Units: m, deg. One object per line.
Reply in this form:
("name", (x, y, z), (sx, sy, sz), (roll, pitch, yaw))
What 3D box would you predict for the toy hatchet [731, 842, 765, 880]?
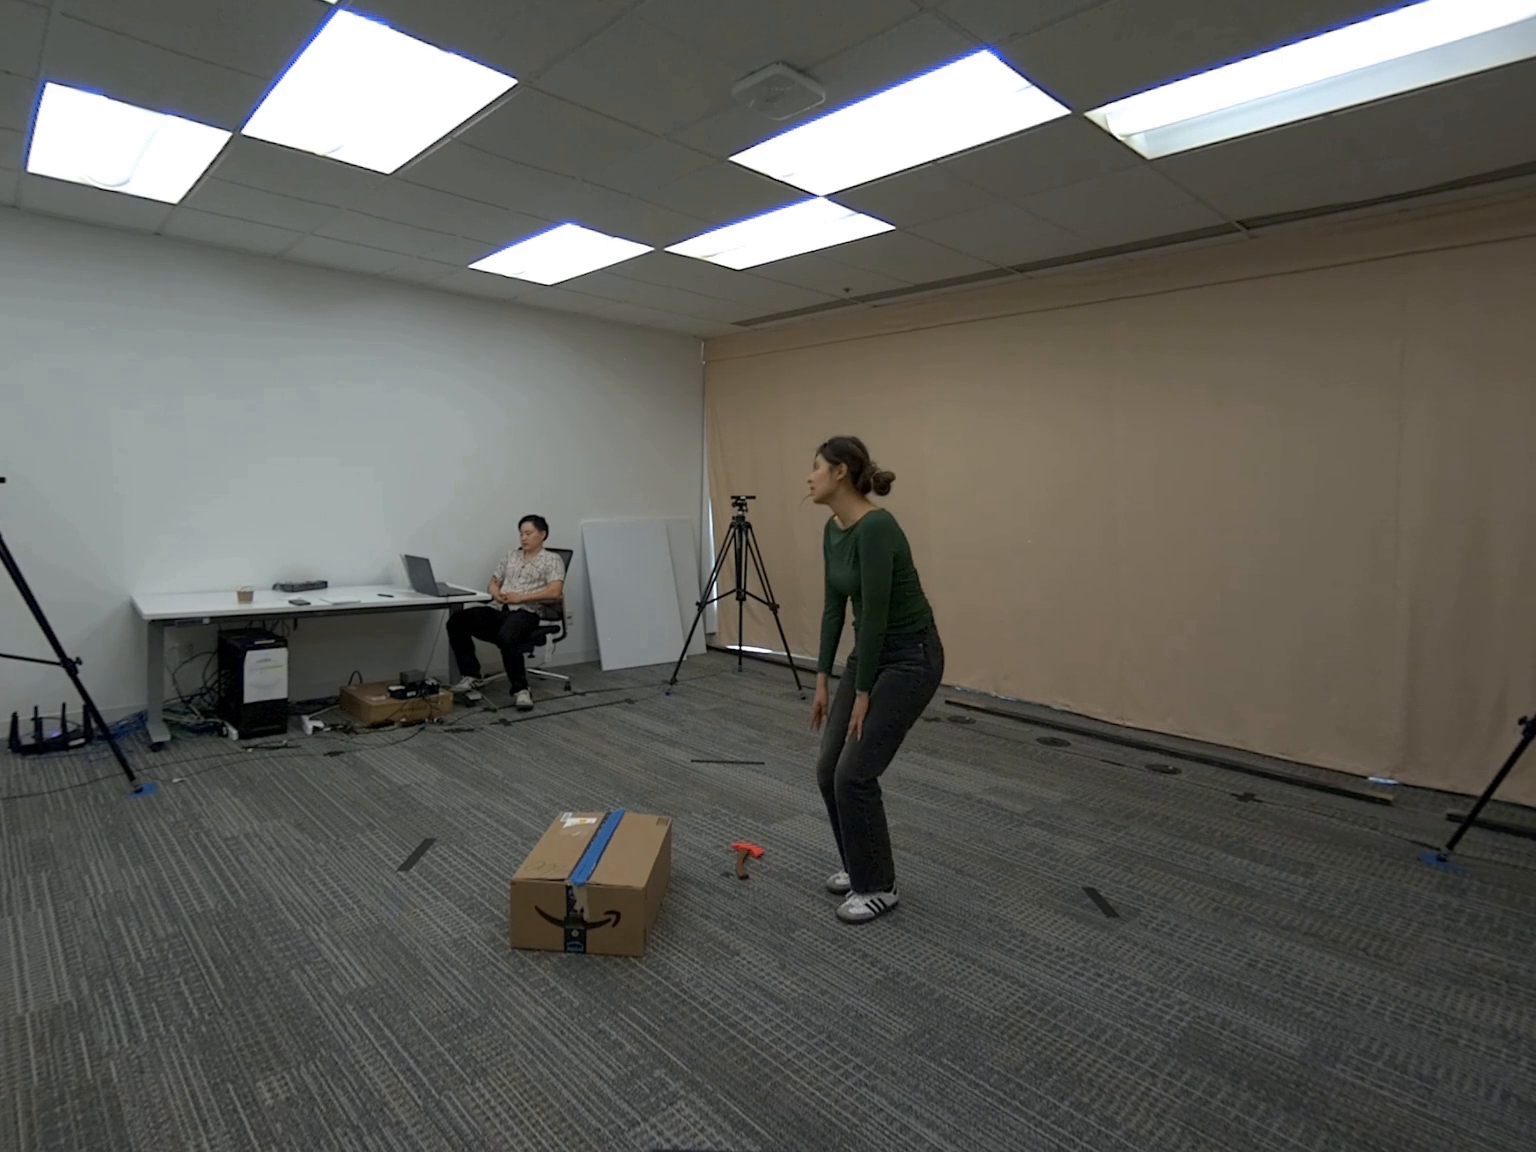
("toy hatchet", (-0.070, 1.079, 3.194), (0.130, 0.029, 0.273), (4, 7, -10))
